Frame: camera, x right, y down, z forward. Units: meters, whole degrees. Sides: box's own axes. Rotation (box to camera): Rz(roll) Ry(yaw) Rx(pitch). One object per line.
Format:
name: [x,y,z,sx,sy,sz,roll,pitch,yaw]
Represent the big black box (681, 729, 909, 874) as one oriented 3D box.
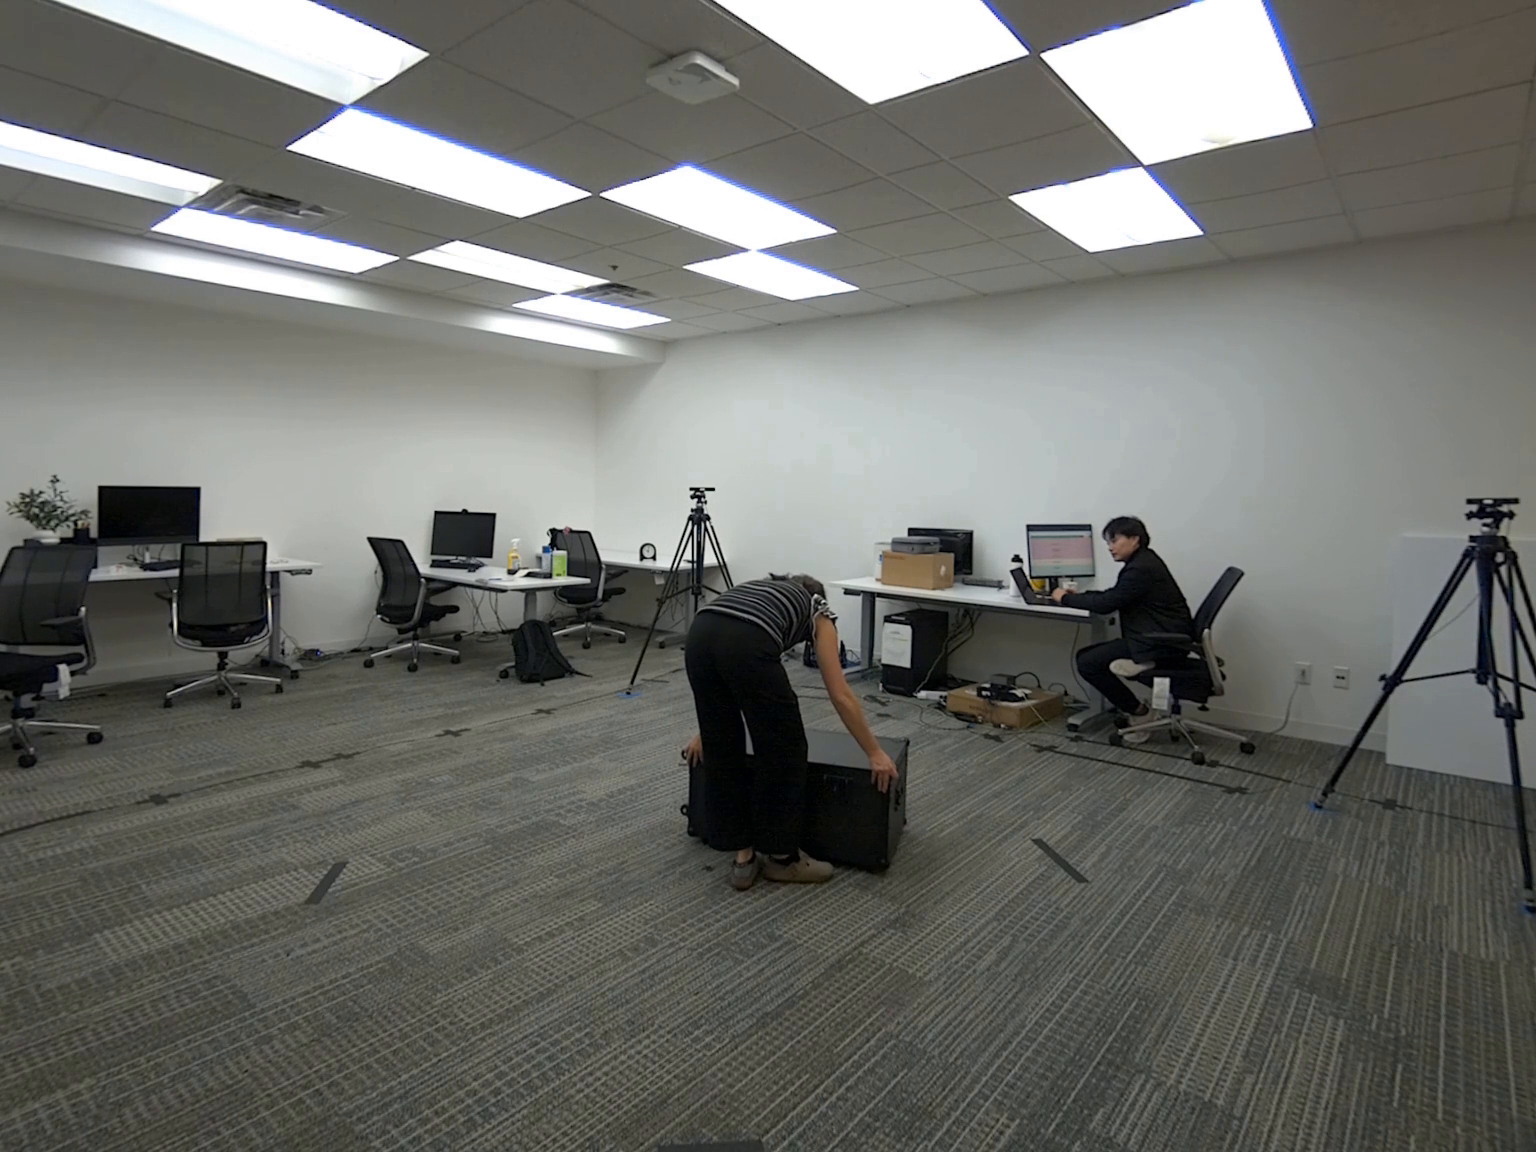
big black box: [0.089,0.845,3.426,0.879,0.395,0.513,4,5,18]
